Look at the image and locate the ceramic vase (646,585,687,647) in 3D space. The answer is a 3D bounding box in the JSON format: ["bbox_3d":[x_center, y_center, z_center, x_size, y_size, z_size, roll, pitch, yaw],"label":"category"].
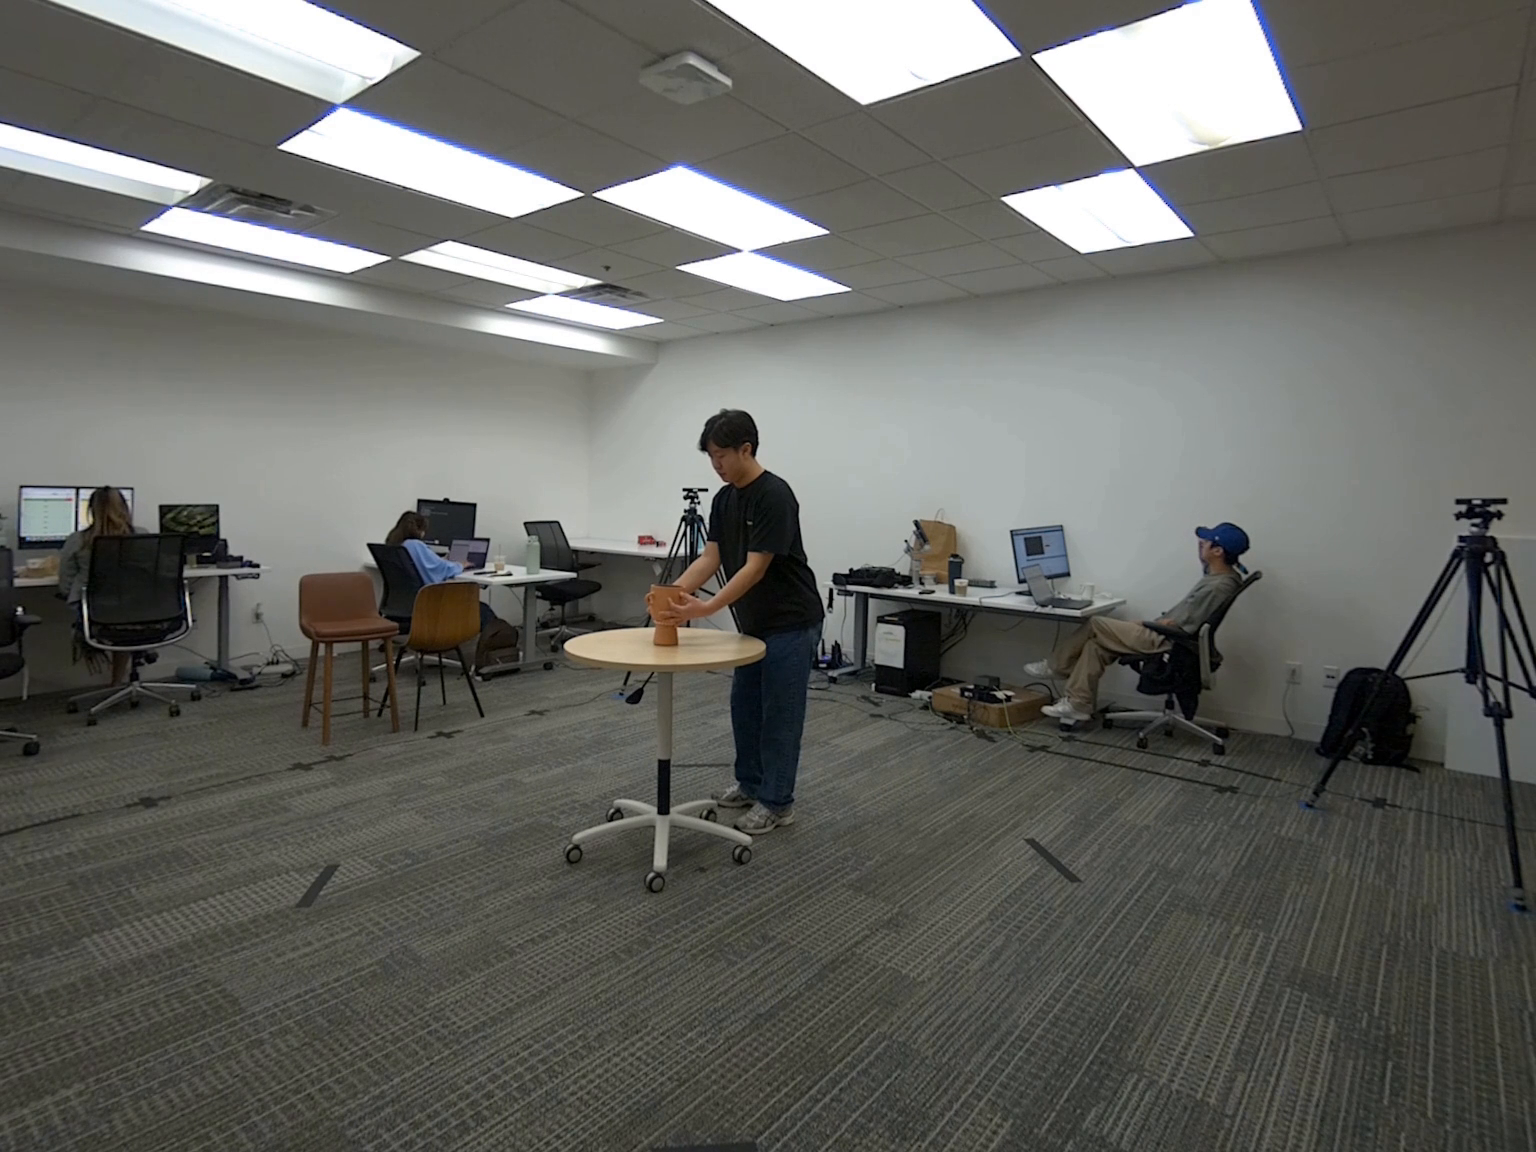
[{"bbox_3d":[-0.399,0.146,3.242,0.159,0.219,0.134,2,1,2],"label":"ceramic vase"}]
